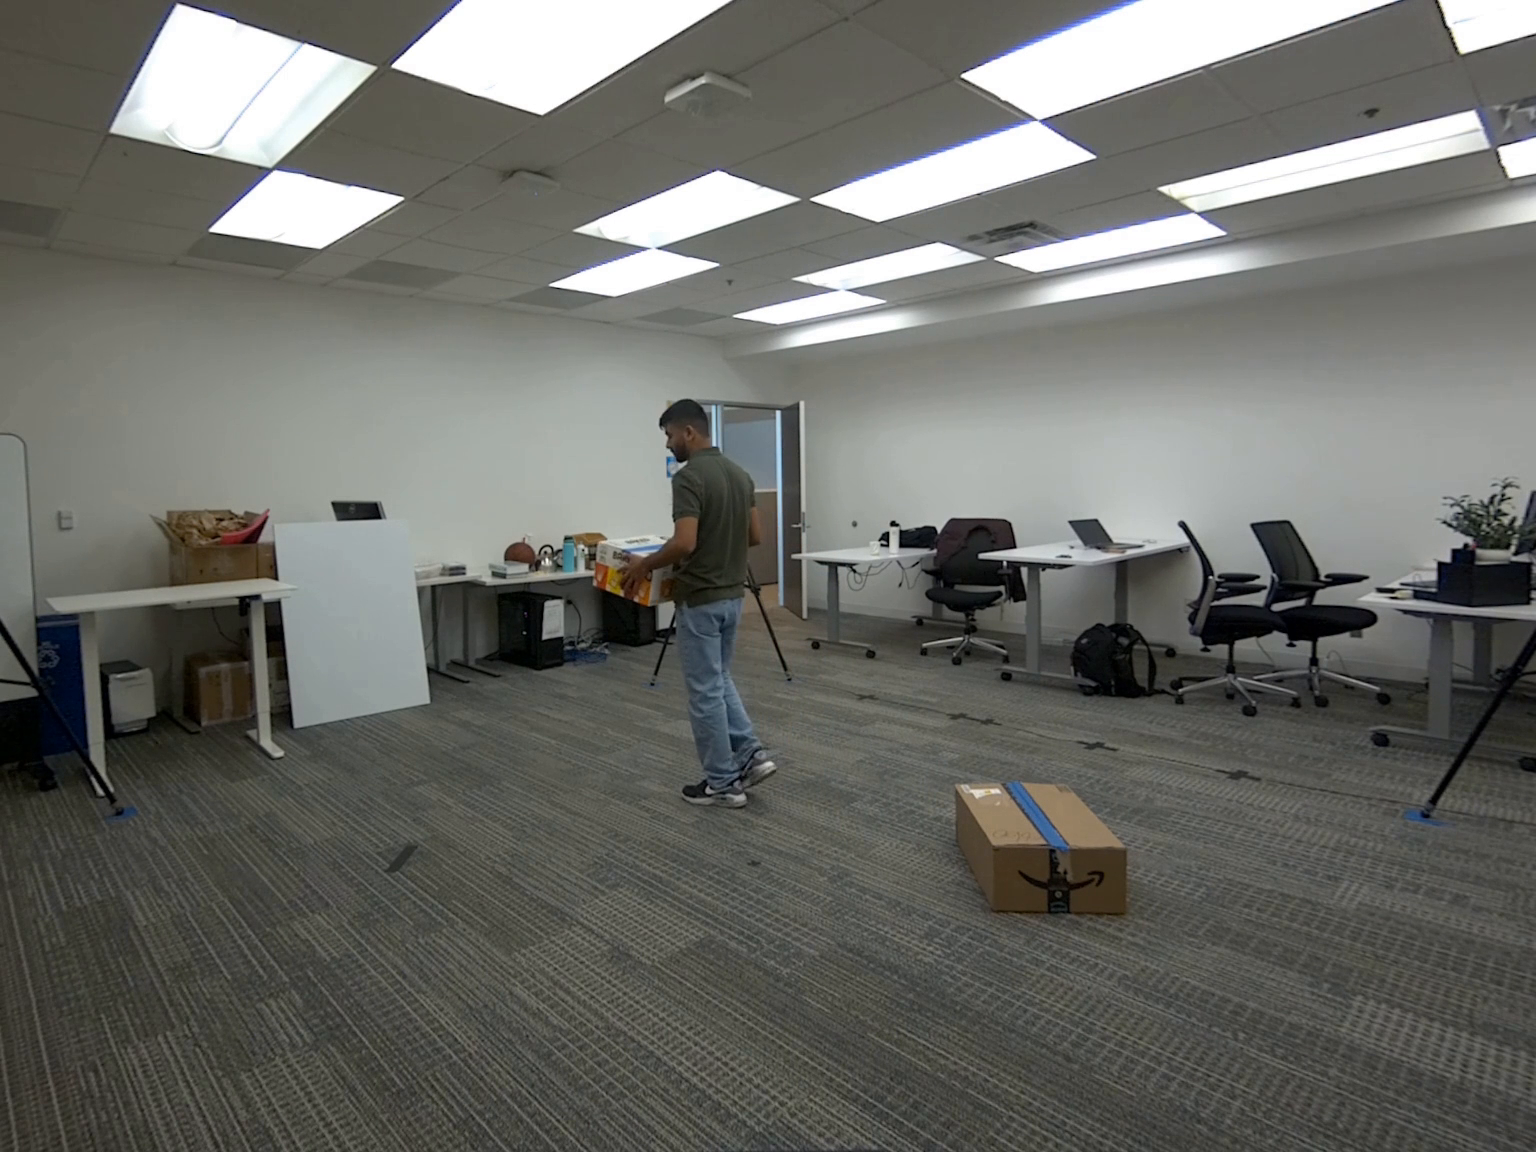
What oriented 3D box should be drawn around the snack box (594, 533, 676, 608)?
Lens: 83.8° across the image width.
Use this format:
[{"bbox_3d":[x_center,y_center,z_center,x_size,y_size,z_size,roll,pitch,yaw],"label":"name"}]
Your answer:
[{"bbox_3d":[-0.505,-0.037,3.842,0.352,0.204,0.396,17,16,33],"label":"snack box"}]
